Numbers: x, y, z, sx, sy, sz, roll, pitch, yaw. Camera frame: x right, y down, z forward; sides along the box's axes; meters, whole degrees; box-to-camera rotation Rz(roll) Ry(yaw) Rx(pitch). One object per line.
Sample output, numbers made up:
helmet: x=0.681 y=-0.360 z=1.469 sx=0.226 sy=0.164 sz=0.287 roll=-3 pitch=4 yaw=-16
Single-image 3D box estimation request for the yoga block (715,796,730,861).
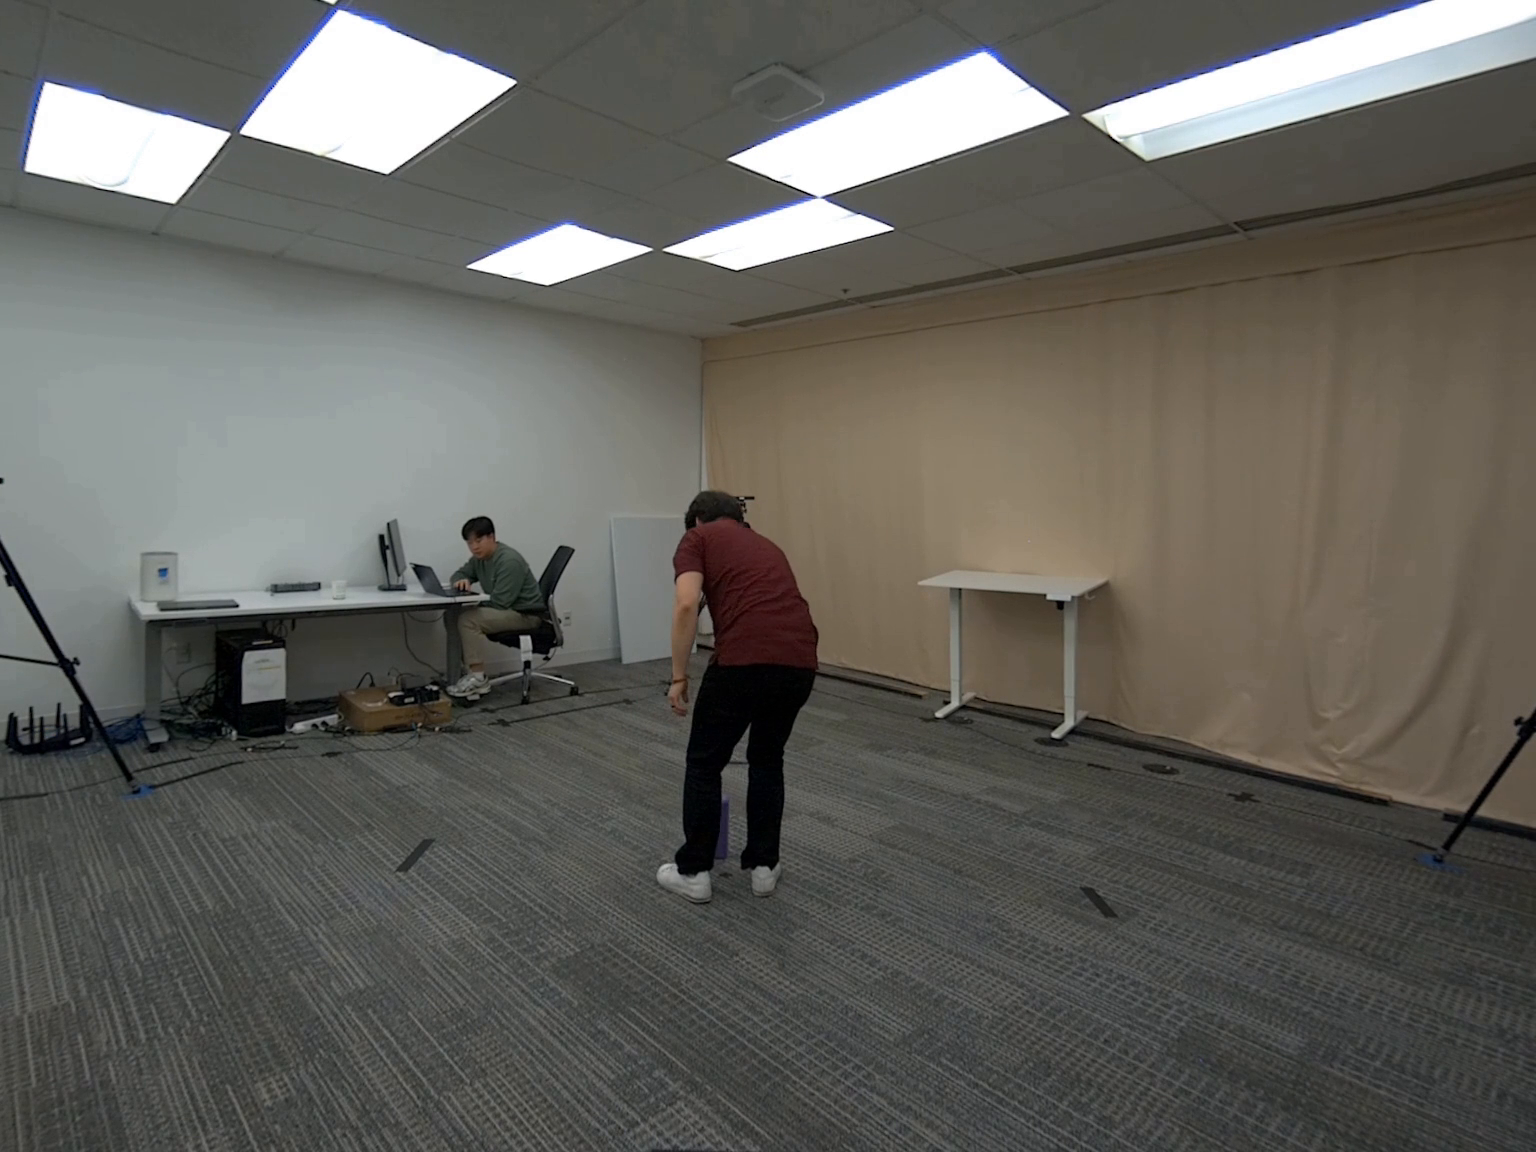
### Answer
yoga block: x=-0.234 y=0.980 z=3.272 sx=0.150 sy=0.229 sz=0.076 roll=2 pitch=4 yaw=6
